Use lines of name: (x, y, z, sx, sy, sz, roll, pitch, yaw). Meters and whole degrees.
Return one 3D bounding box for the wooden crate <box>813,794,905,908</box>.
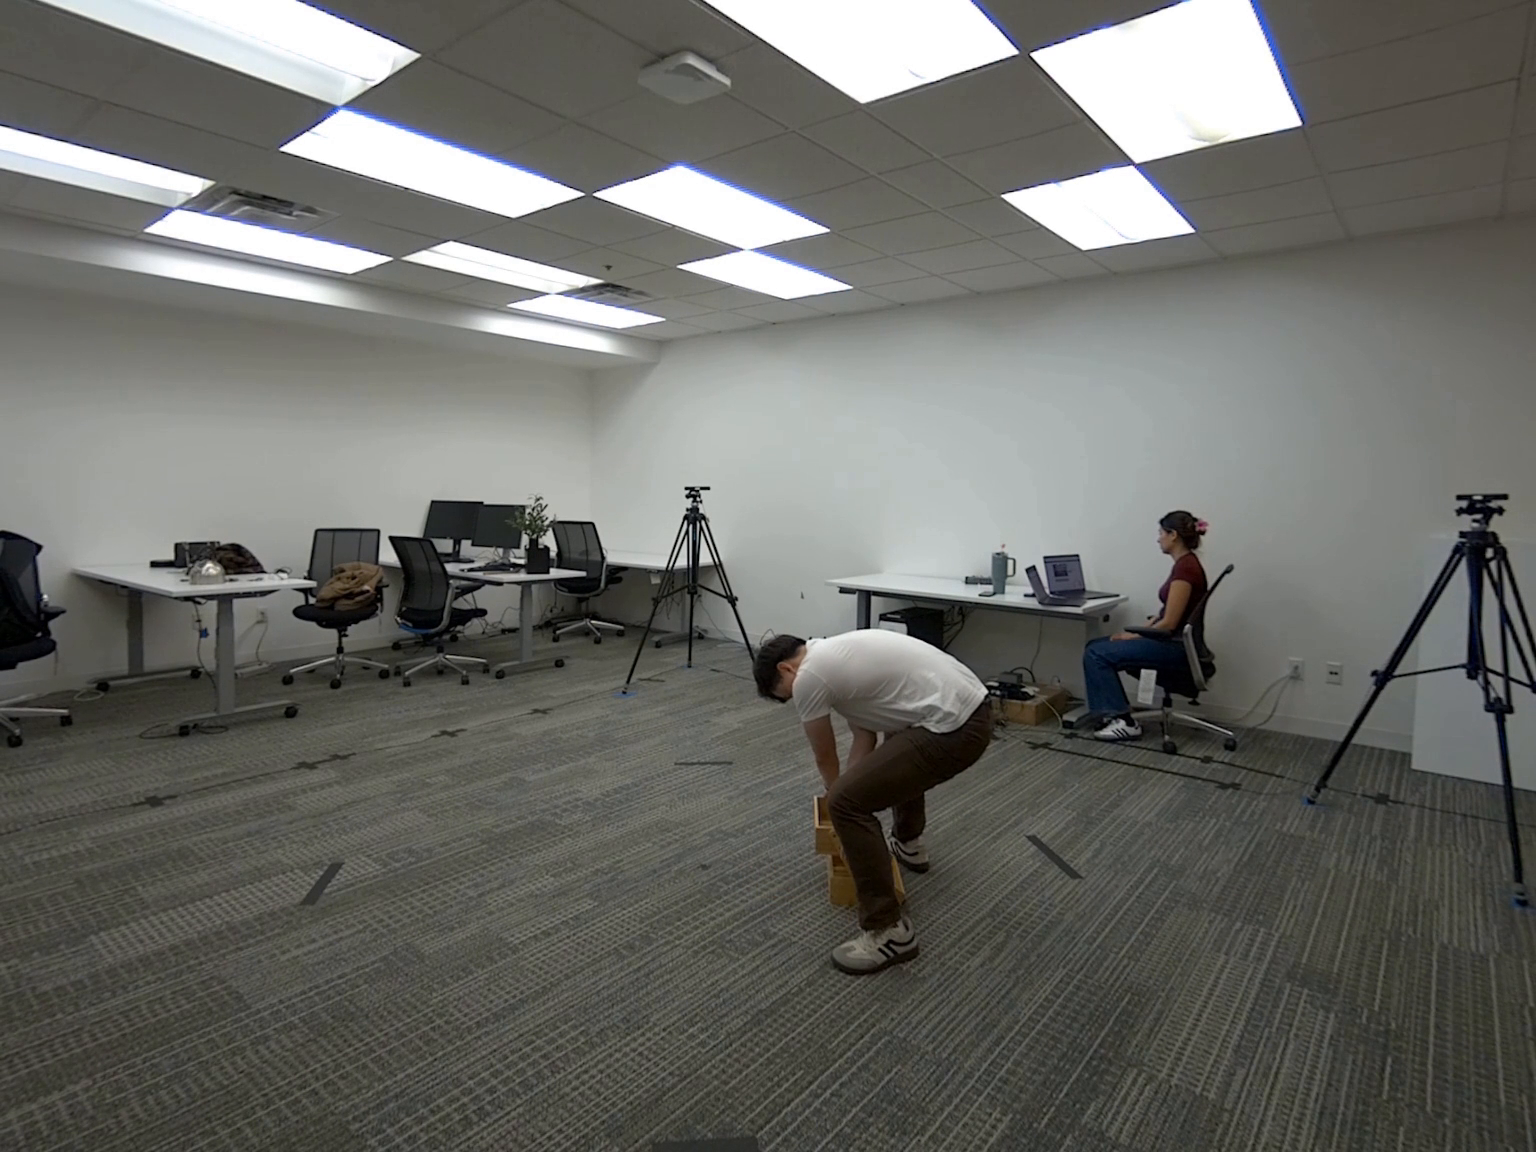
wooden crate: (0.312, 0.955, 2.994, 0.303, 0.272, 0.324, 1, 5, 3)
